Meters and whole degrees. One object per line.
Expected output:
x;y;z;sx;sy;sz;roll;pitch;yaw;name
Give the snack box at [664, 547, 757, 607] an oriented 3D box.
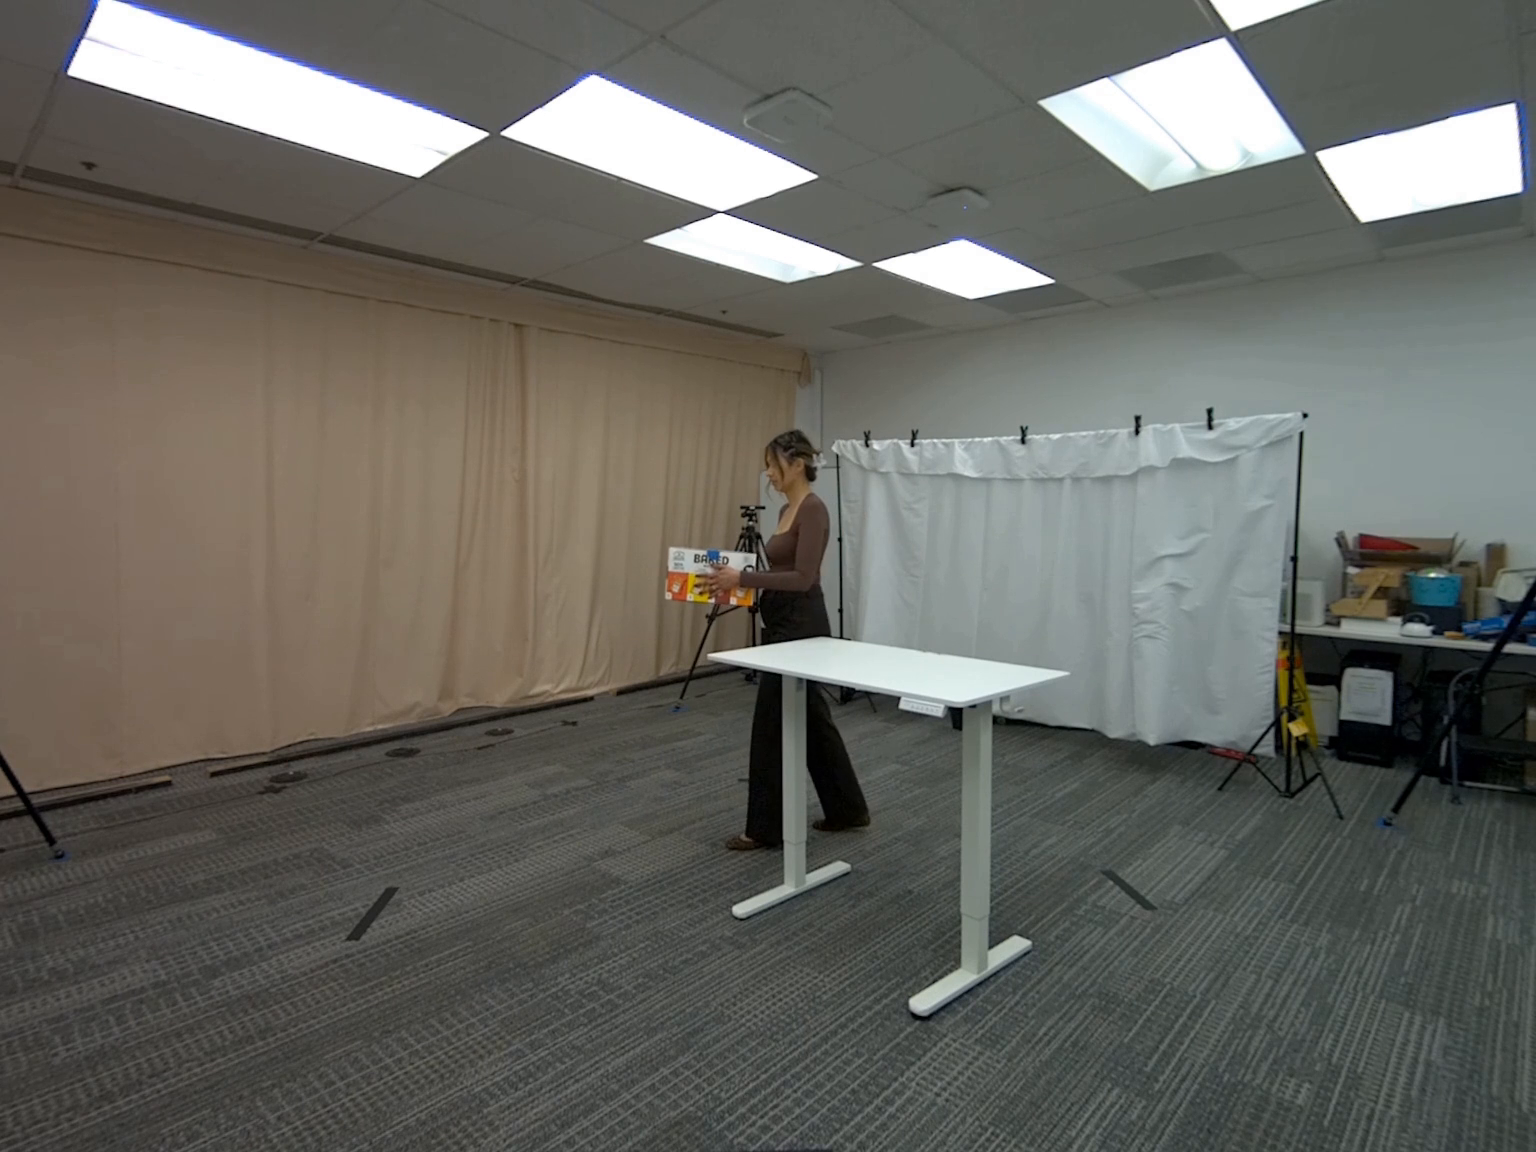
-0.234;-0.003;3.455;0.339;0.206;0.406;5;1;-4;snack box
